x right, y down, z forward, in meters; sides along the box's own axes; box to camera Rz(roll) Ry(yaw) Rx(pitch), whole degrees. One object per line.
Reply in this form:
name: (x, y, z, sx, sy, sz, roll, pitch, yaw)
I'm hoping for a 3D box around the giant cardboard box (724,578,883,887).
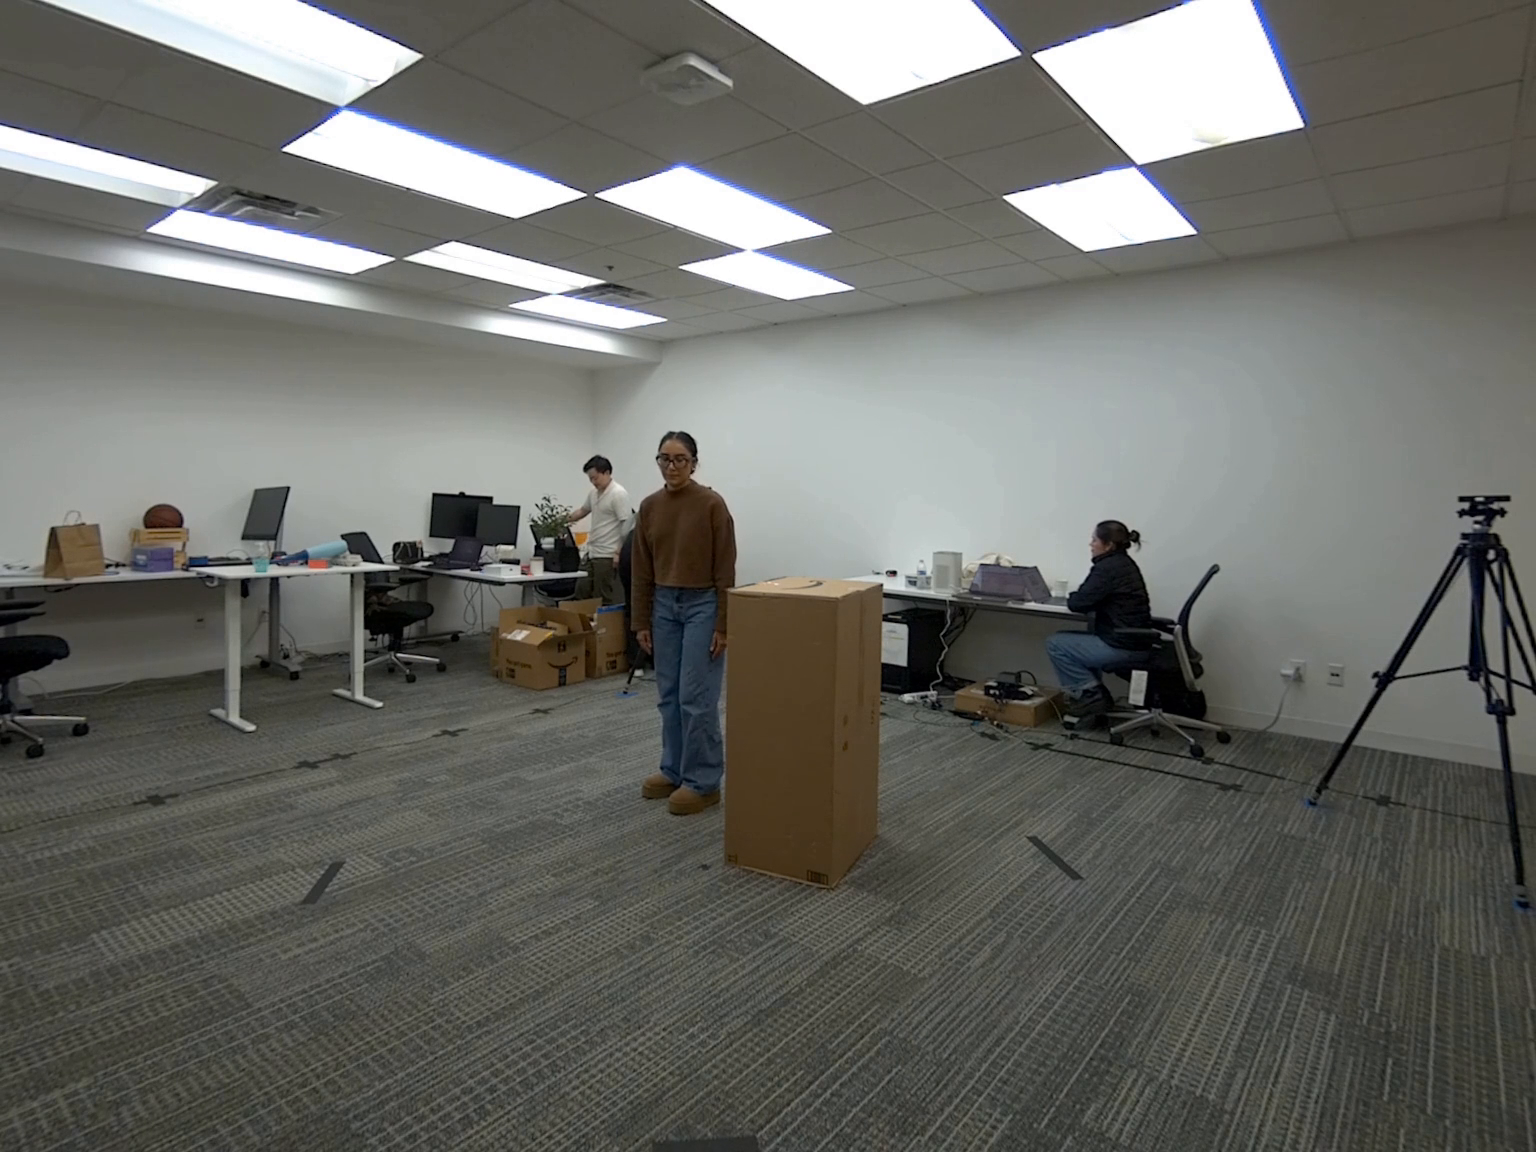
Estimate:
giant cardboard box: (0.141, 0.546, 3.272, 0.437, 1.023, 0.565, 2, 4, 24)
